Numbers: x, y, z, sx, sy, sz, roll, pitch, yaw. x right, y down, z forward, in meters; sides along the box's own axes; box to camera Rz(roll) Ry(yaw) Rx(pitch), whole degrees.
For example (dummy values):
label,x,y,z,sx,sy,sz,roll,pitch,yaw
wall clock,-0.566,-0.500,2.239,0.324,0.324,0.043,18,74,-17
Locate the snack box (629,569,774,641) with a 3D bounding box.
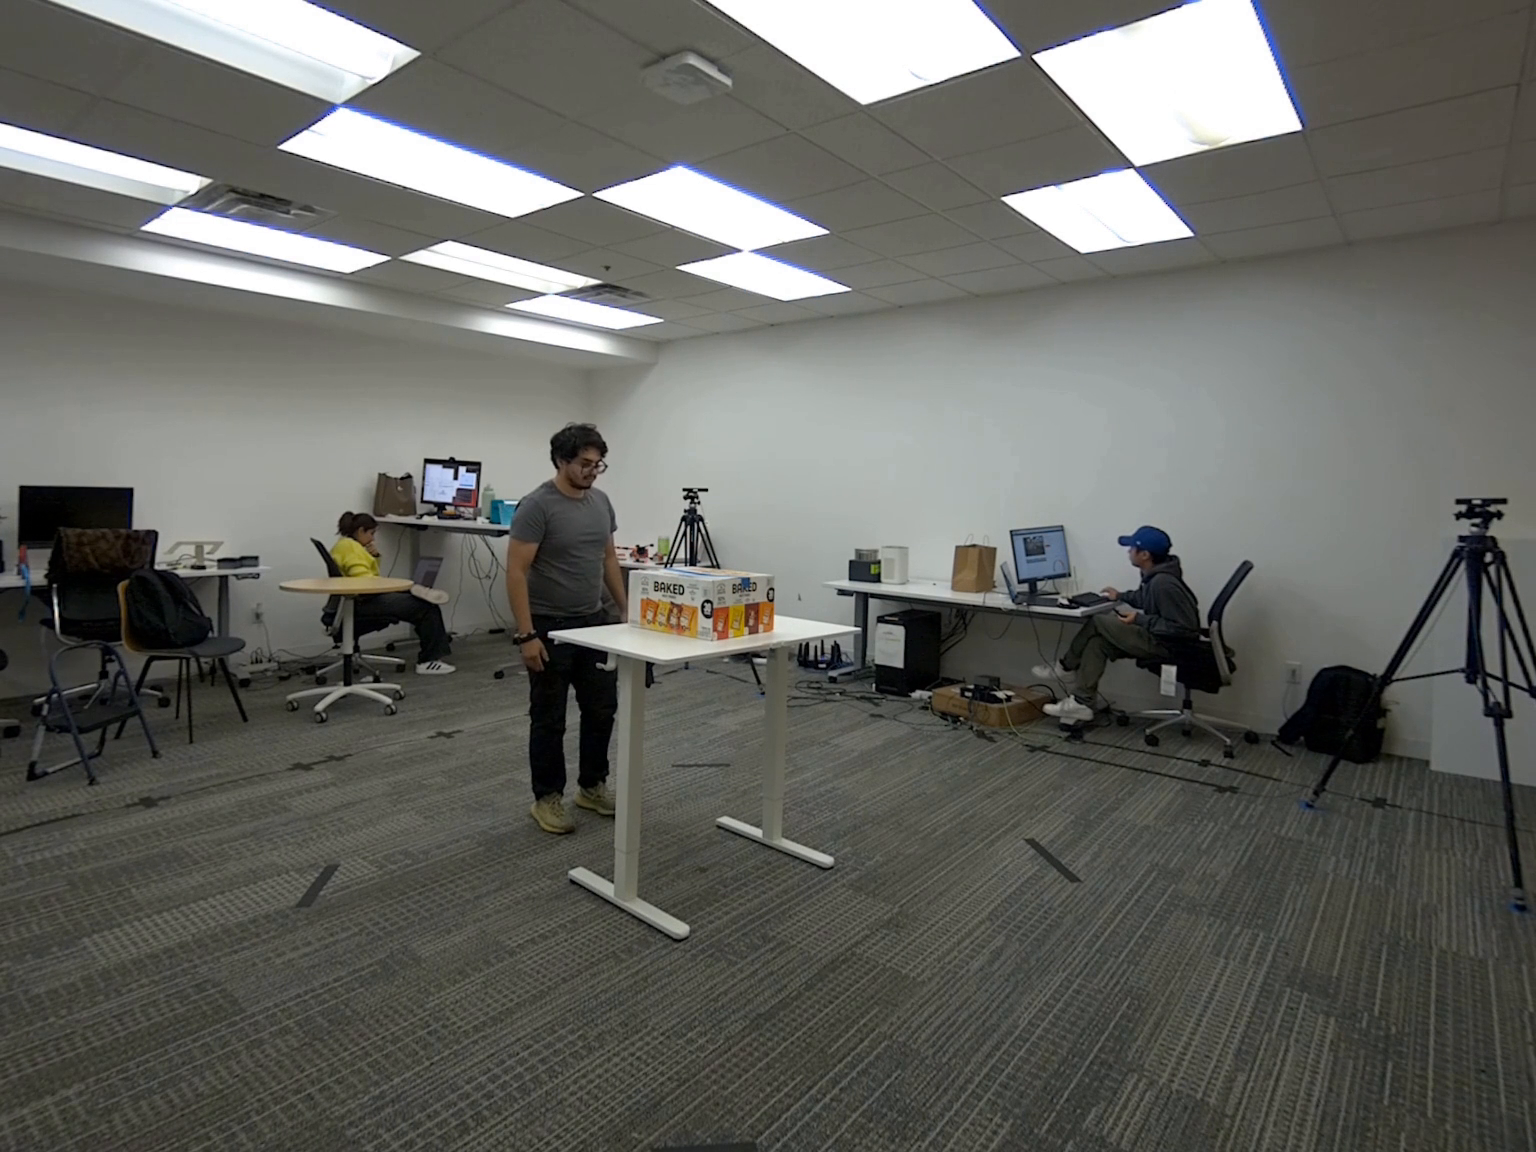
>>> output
label,x,y,z,sx,sy,sz,roll,pitch,yaw
snack box,-0.253,0.087,3.072,0.419,0.205,0.330,6,6,39
